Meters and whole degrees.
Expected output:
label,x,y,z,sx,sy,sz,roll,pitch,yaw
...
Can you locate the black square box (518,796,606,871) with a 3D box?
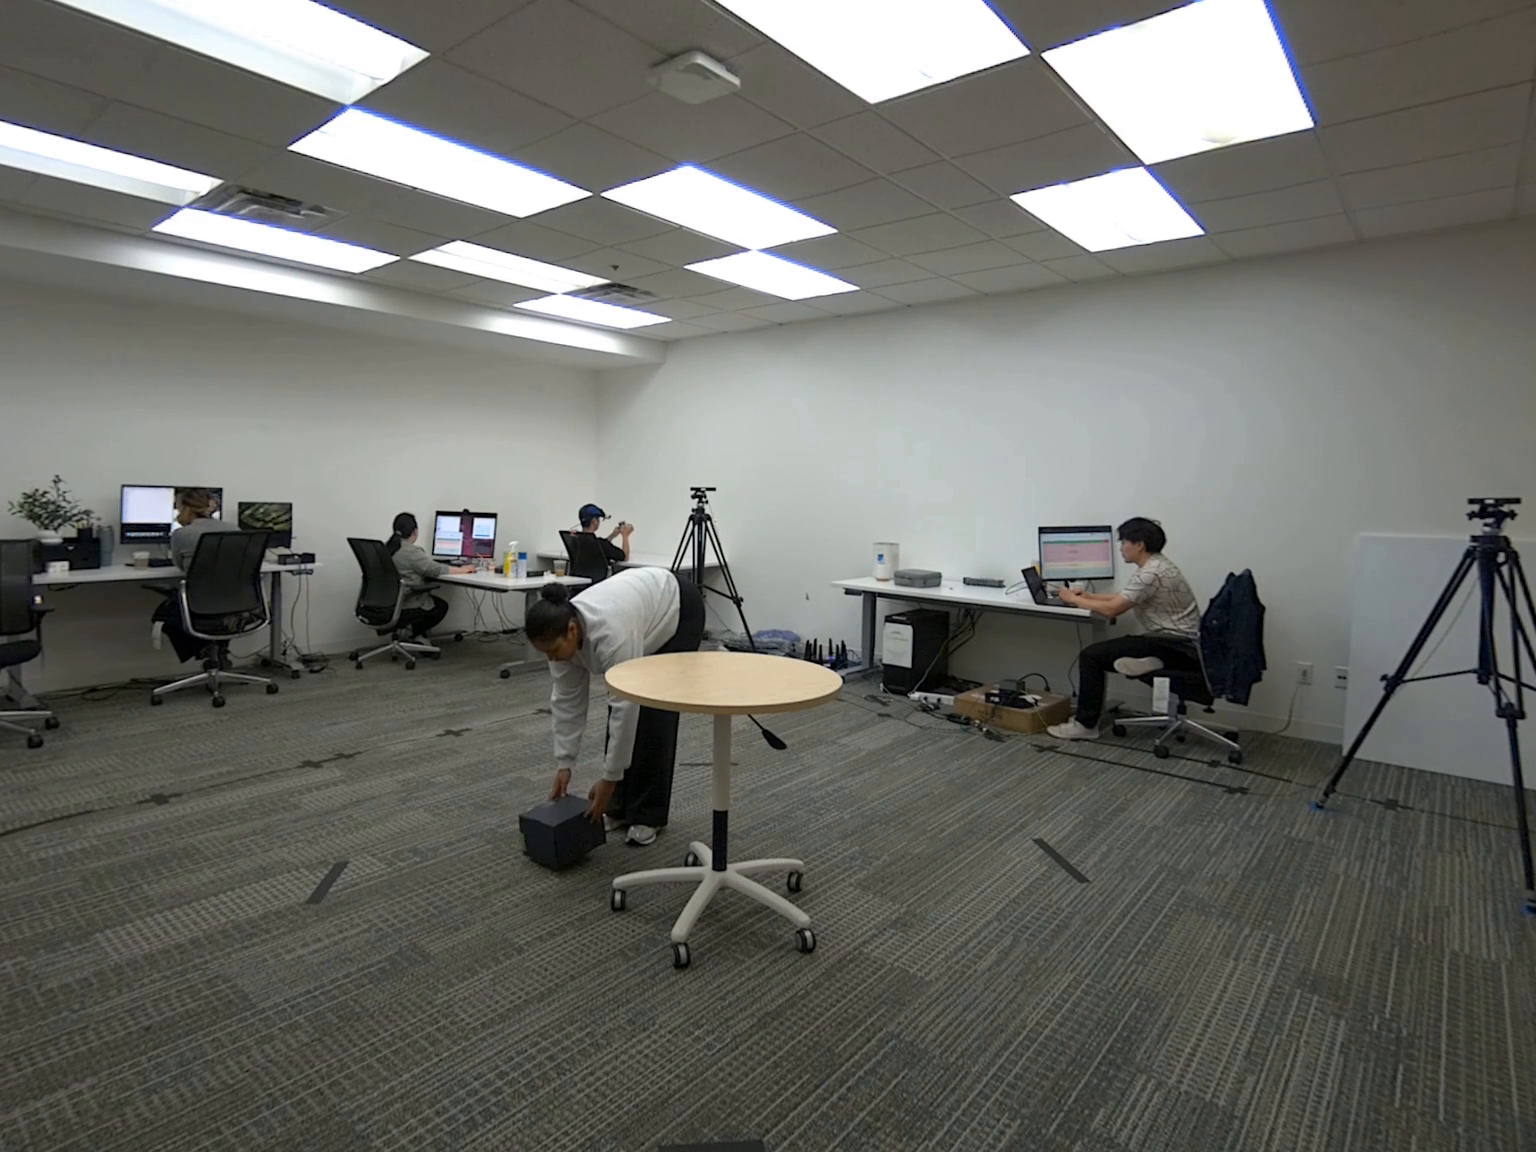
label,x,y,z,sx,sy,sz,roll,pitch,yaw
black square box,-0.783,0.928,3.155,0.224,0.155,0.222,0,9,39
